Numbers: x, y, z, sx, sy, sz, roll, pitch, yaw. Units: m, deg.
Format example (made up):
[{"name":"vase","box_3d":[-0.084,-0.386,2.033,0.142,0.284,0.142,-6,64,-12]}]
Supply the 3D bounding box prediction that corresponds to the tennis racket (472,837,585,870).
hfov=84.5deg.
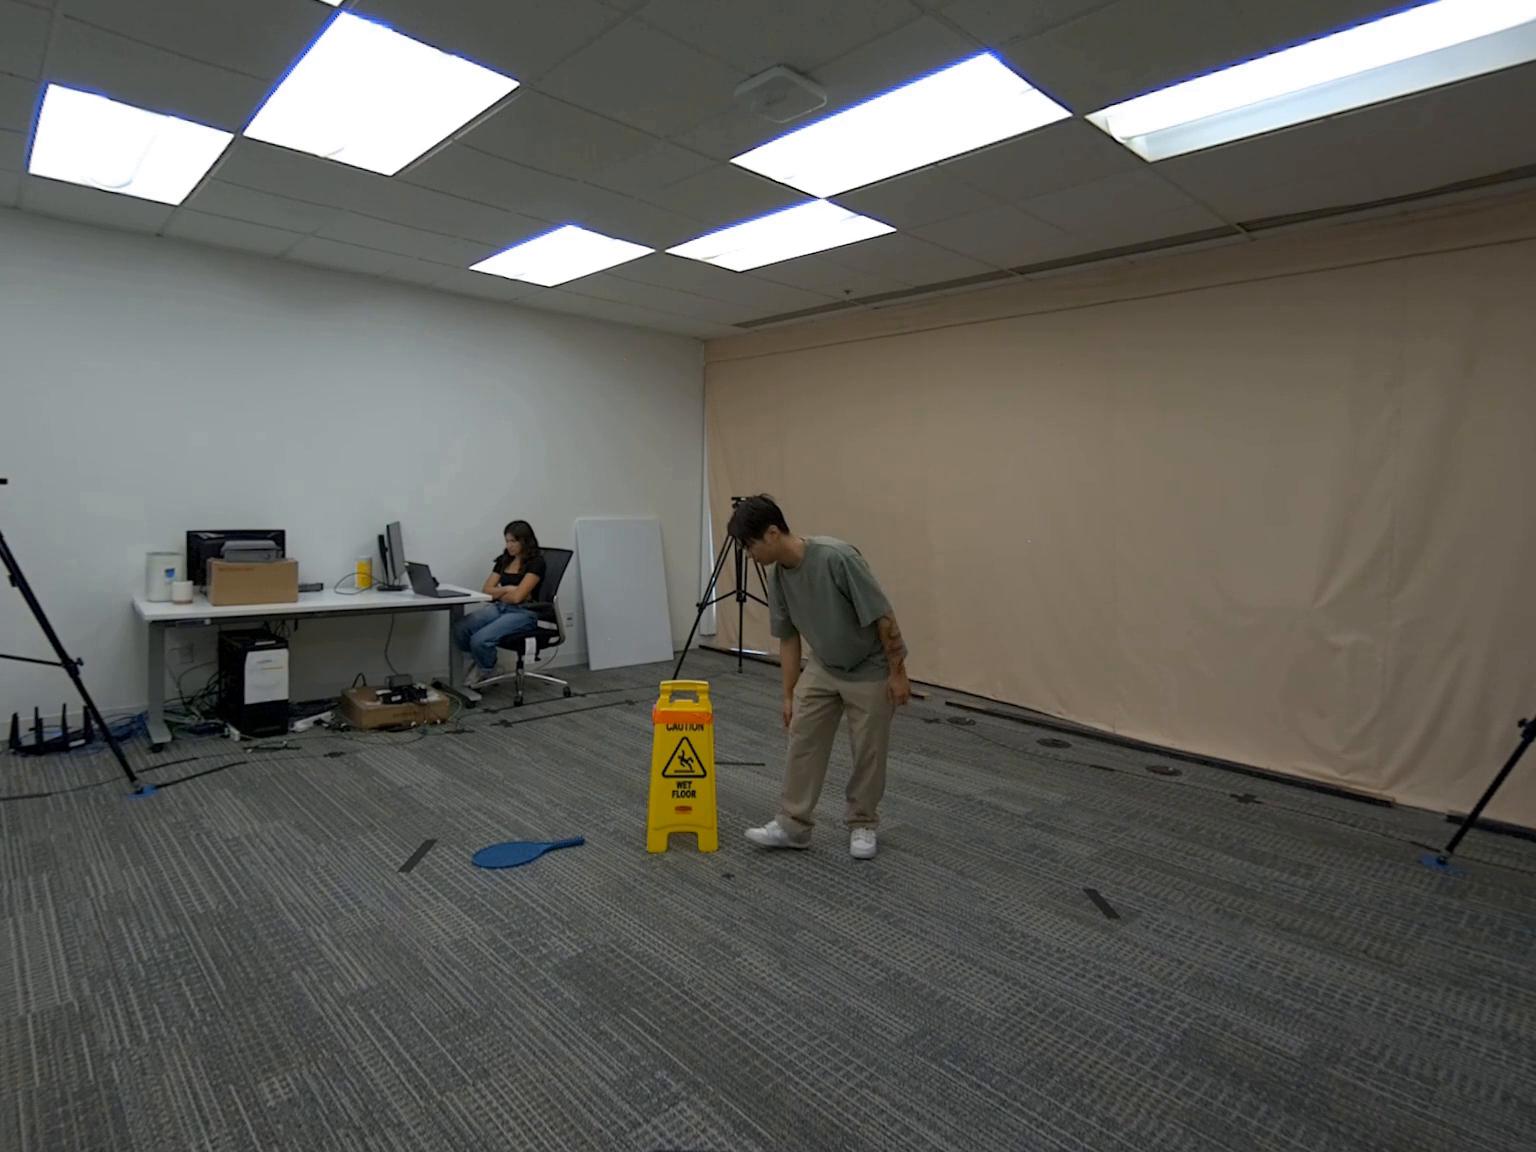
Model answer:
[{"name":"tennis racket","box_3d":[-0.932,1.062,3.266,0.424,0.031,0.218,-3,6,-29]}]
